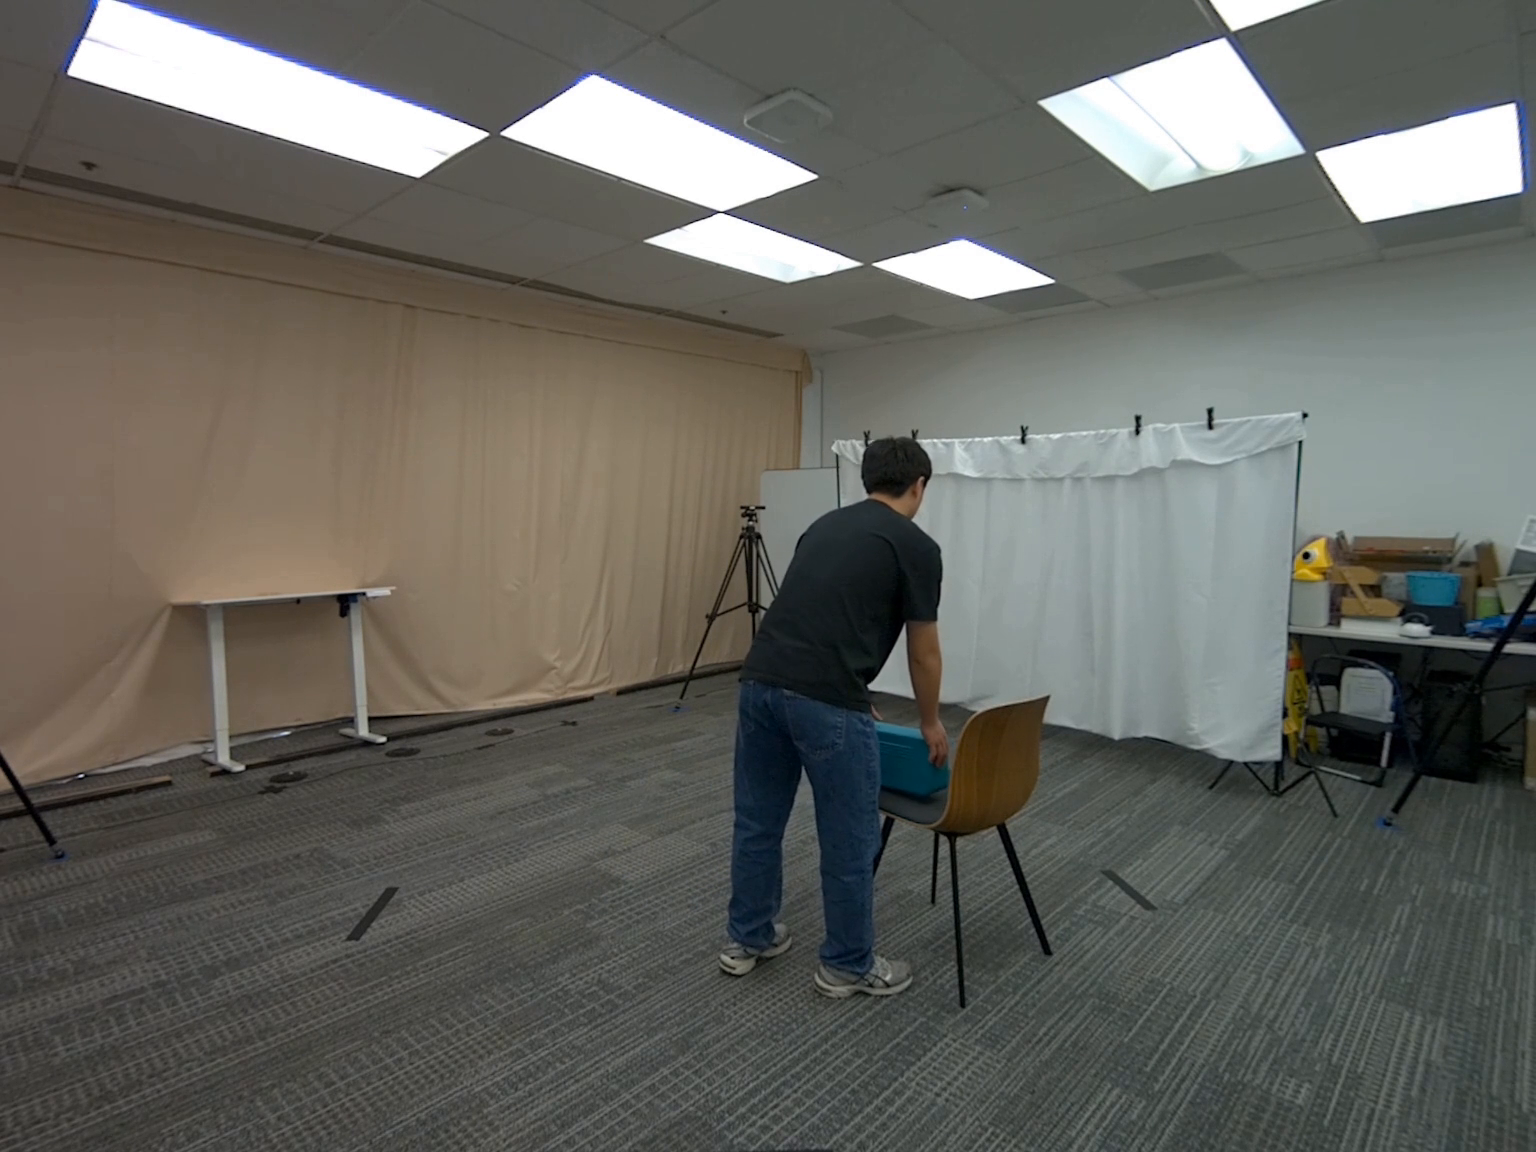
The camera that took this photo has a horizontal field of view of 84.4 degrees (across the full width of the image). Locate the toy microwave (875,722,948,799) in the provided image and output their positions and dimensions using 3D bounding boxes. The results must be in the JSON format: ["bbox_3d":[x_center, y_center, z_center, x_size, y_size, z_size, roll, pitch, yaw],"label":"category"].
[{"bbox_3d":[0.437,0.577,2.689,0.147,0.184,0.295,0,1,-43],"label":"toy microwave"}]
